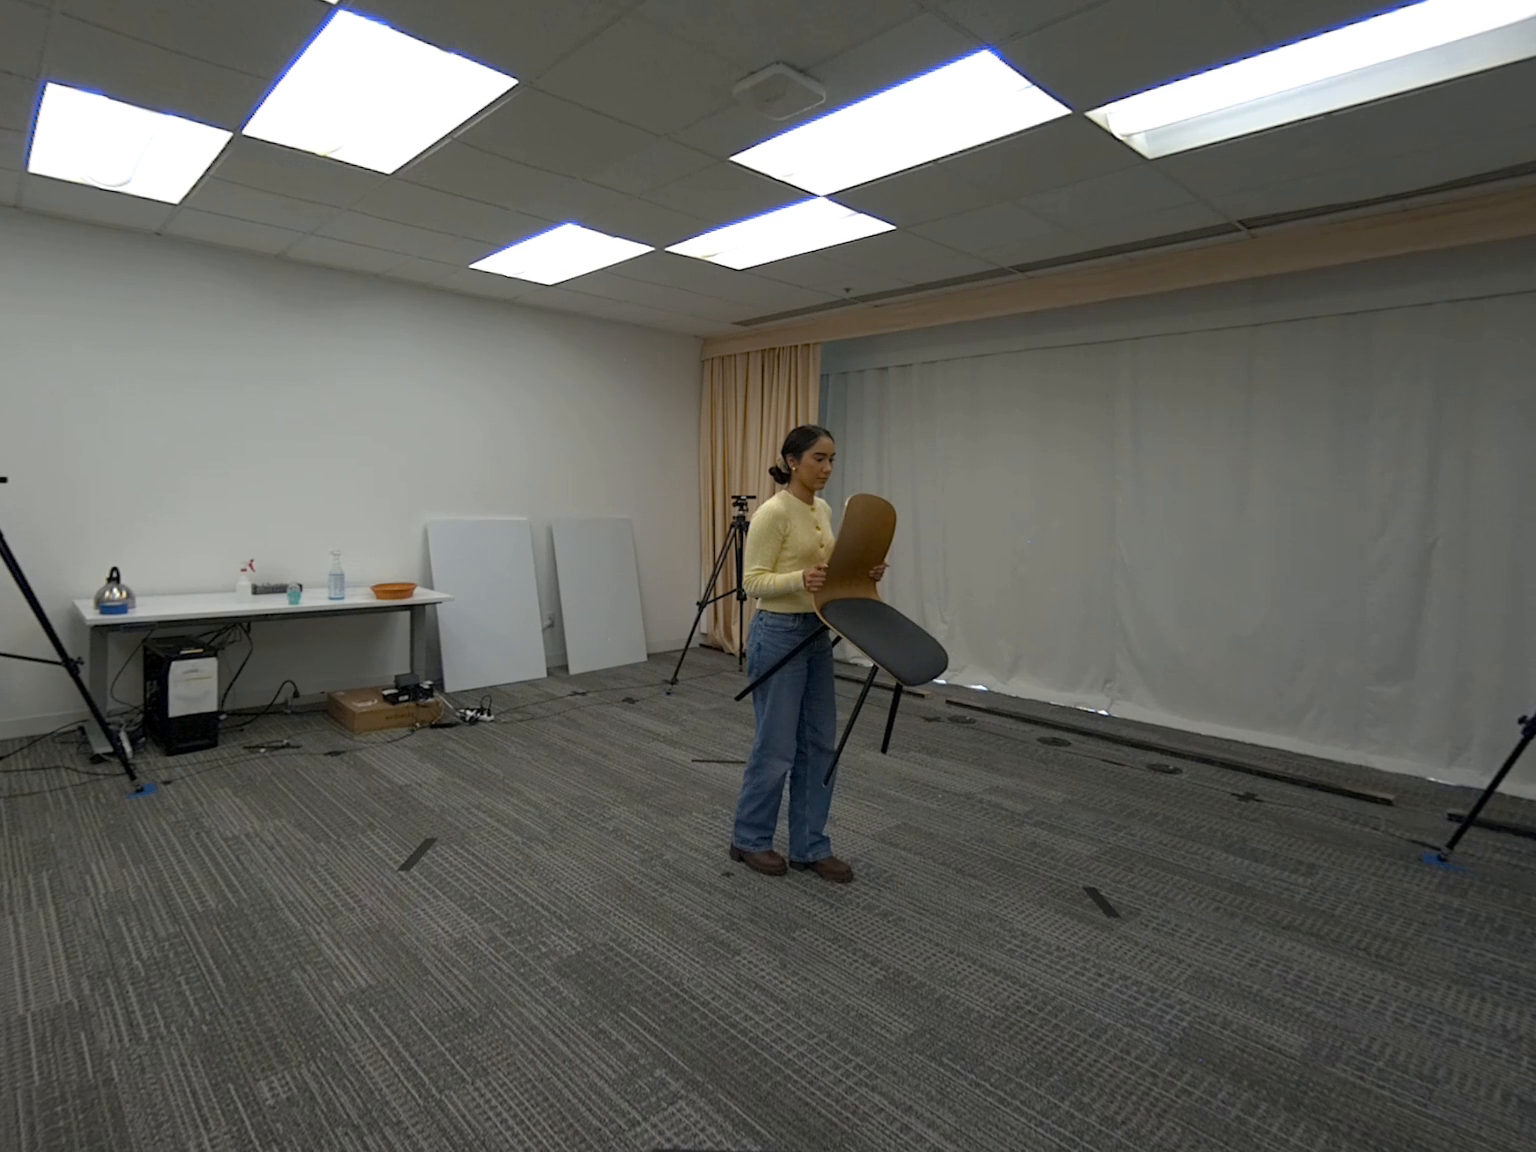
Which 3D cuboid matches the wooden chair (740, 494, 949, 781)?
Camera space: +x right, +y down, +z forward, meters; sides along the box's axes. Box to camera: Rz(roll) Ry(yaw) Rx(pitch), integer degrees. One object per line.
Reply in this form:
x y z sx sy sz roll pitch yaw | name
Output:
0.348 0.221 2.947 0.538 0.872 0.468 35 21 29 | wooden chair
